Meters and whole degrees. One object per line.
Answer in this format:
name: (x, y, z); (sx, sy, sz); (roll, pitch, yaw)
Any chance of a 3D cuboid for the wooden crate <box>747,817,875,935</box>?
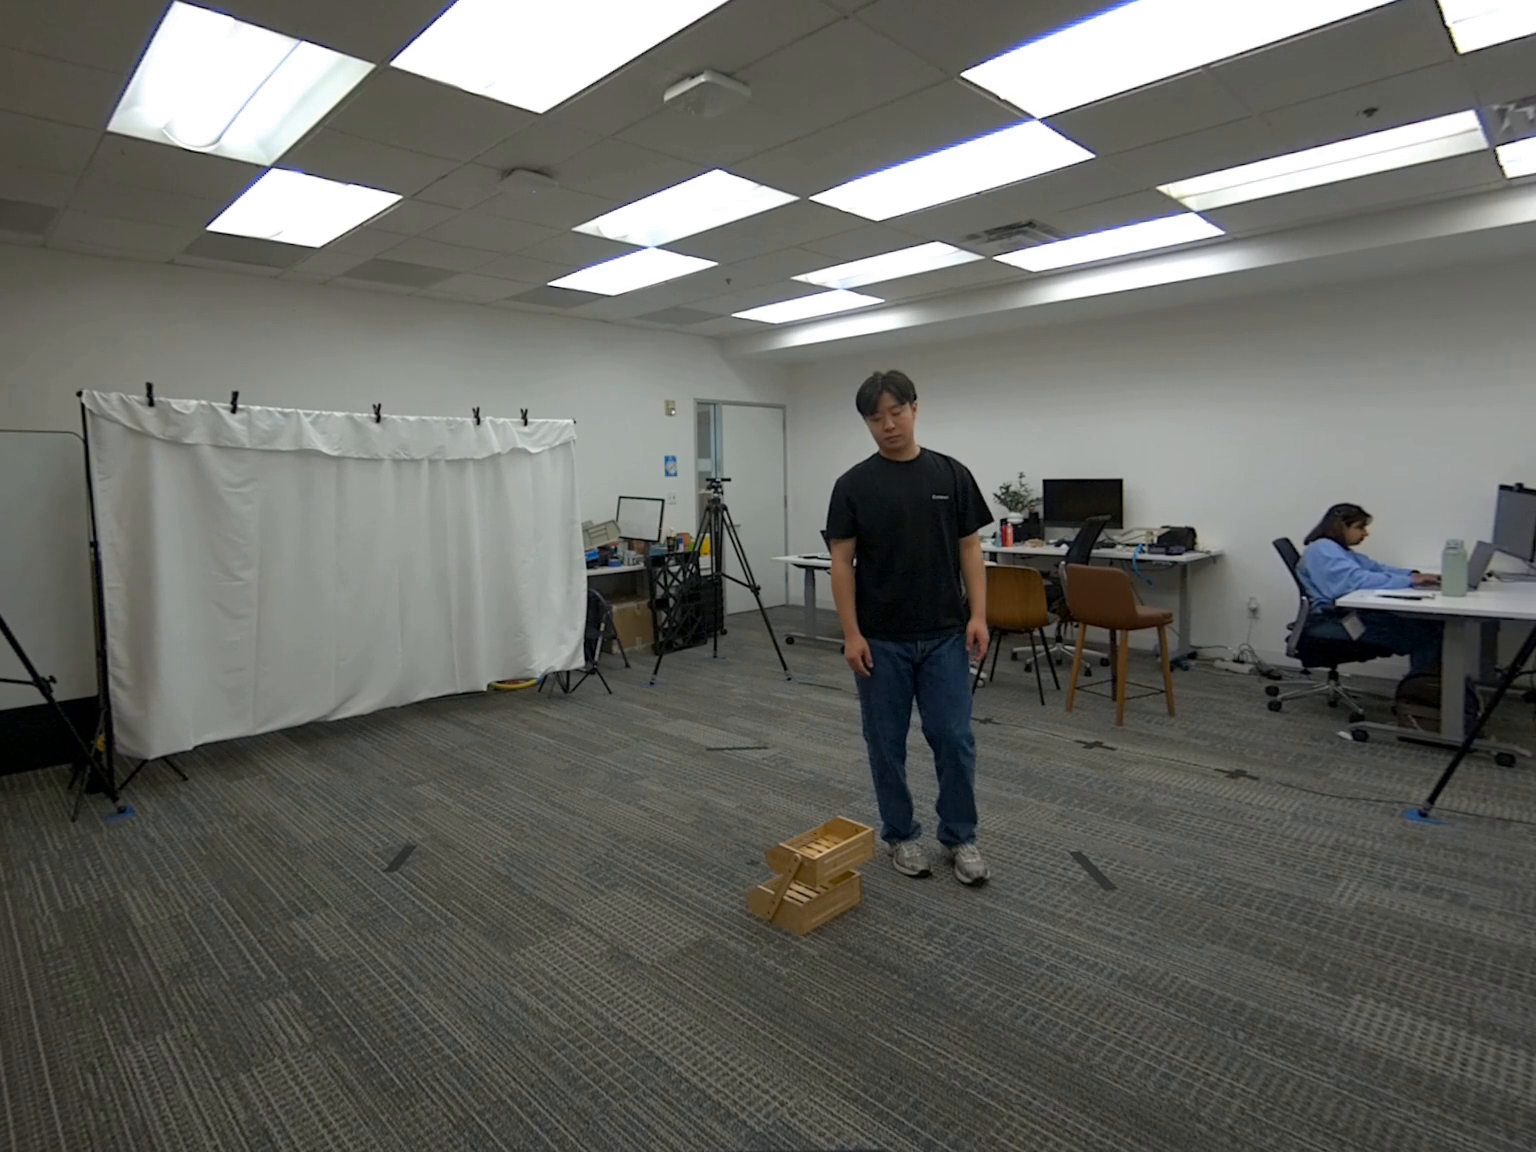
wooden crate: (0.138, 0.945, 2.769); (0.311, 0.272, 0.316); (5, 9, 44)
